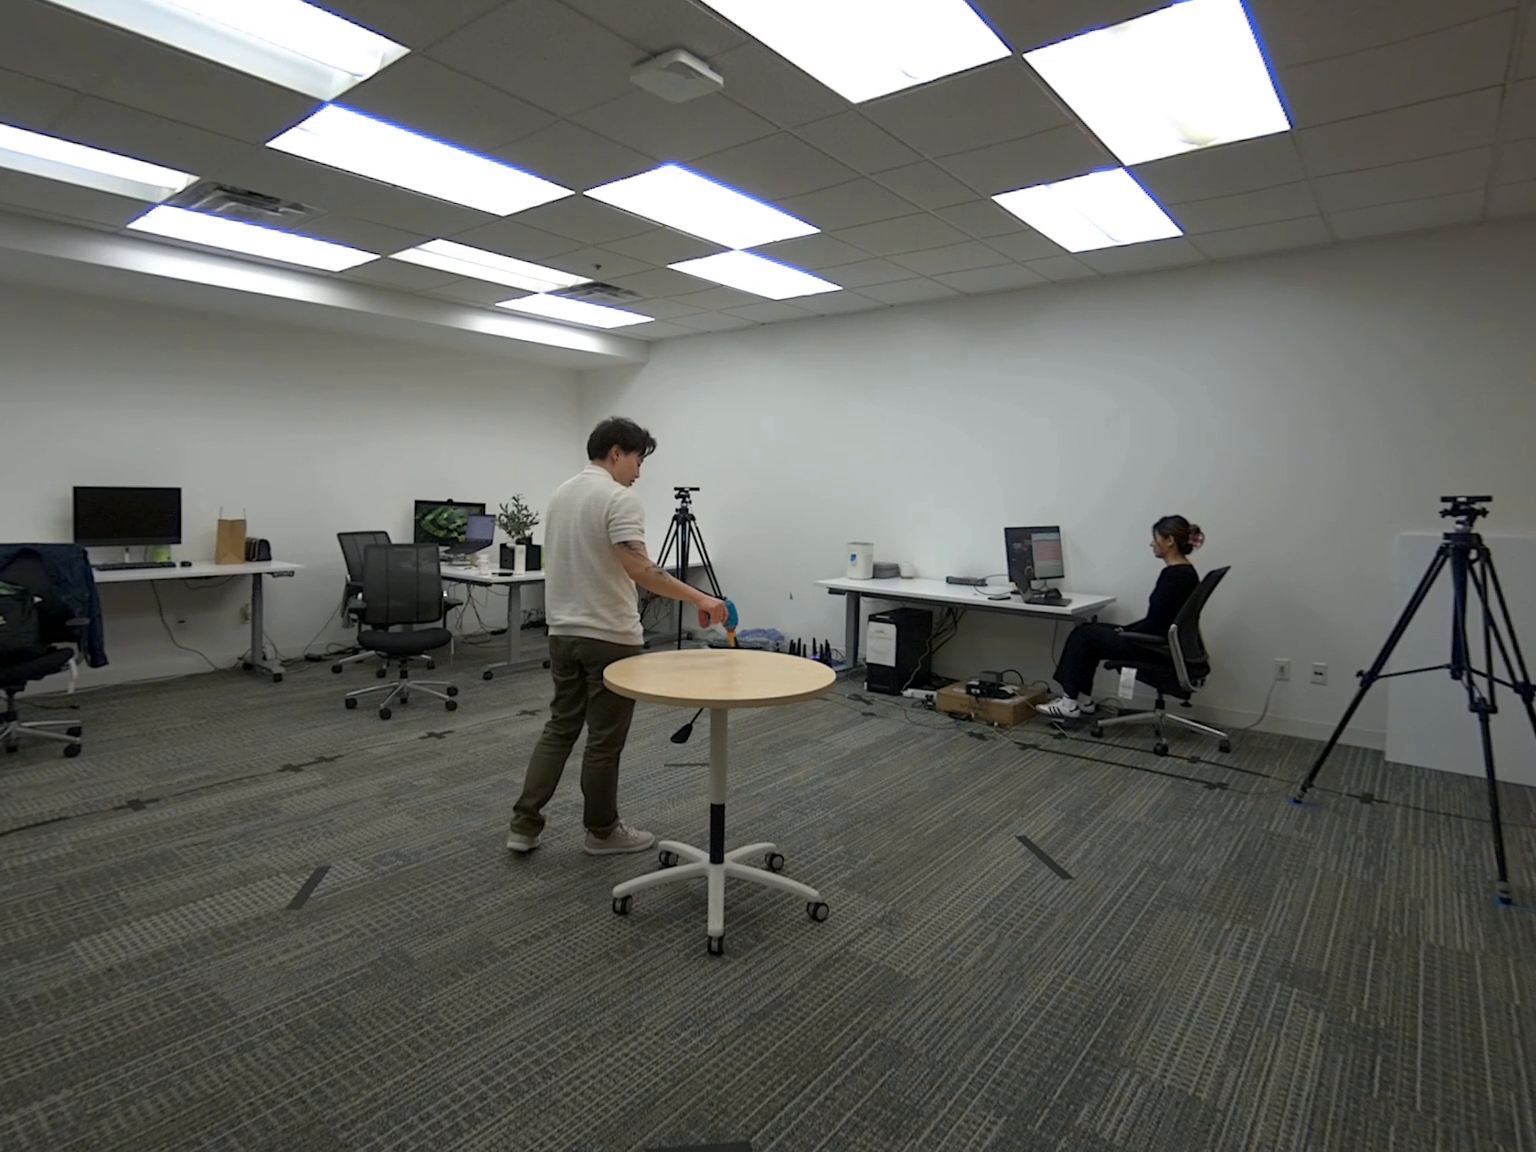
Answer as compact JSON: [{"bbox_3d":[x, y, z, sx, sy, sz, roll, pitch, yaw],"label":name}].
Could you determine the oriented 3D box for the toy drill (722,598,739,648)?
[{"bbox_3d":[-0.191,0.175,3.044,0.143,0.168,0.063,-6,11,-21],"label":"toy drill"}]
